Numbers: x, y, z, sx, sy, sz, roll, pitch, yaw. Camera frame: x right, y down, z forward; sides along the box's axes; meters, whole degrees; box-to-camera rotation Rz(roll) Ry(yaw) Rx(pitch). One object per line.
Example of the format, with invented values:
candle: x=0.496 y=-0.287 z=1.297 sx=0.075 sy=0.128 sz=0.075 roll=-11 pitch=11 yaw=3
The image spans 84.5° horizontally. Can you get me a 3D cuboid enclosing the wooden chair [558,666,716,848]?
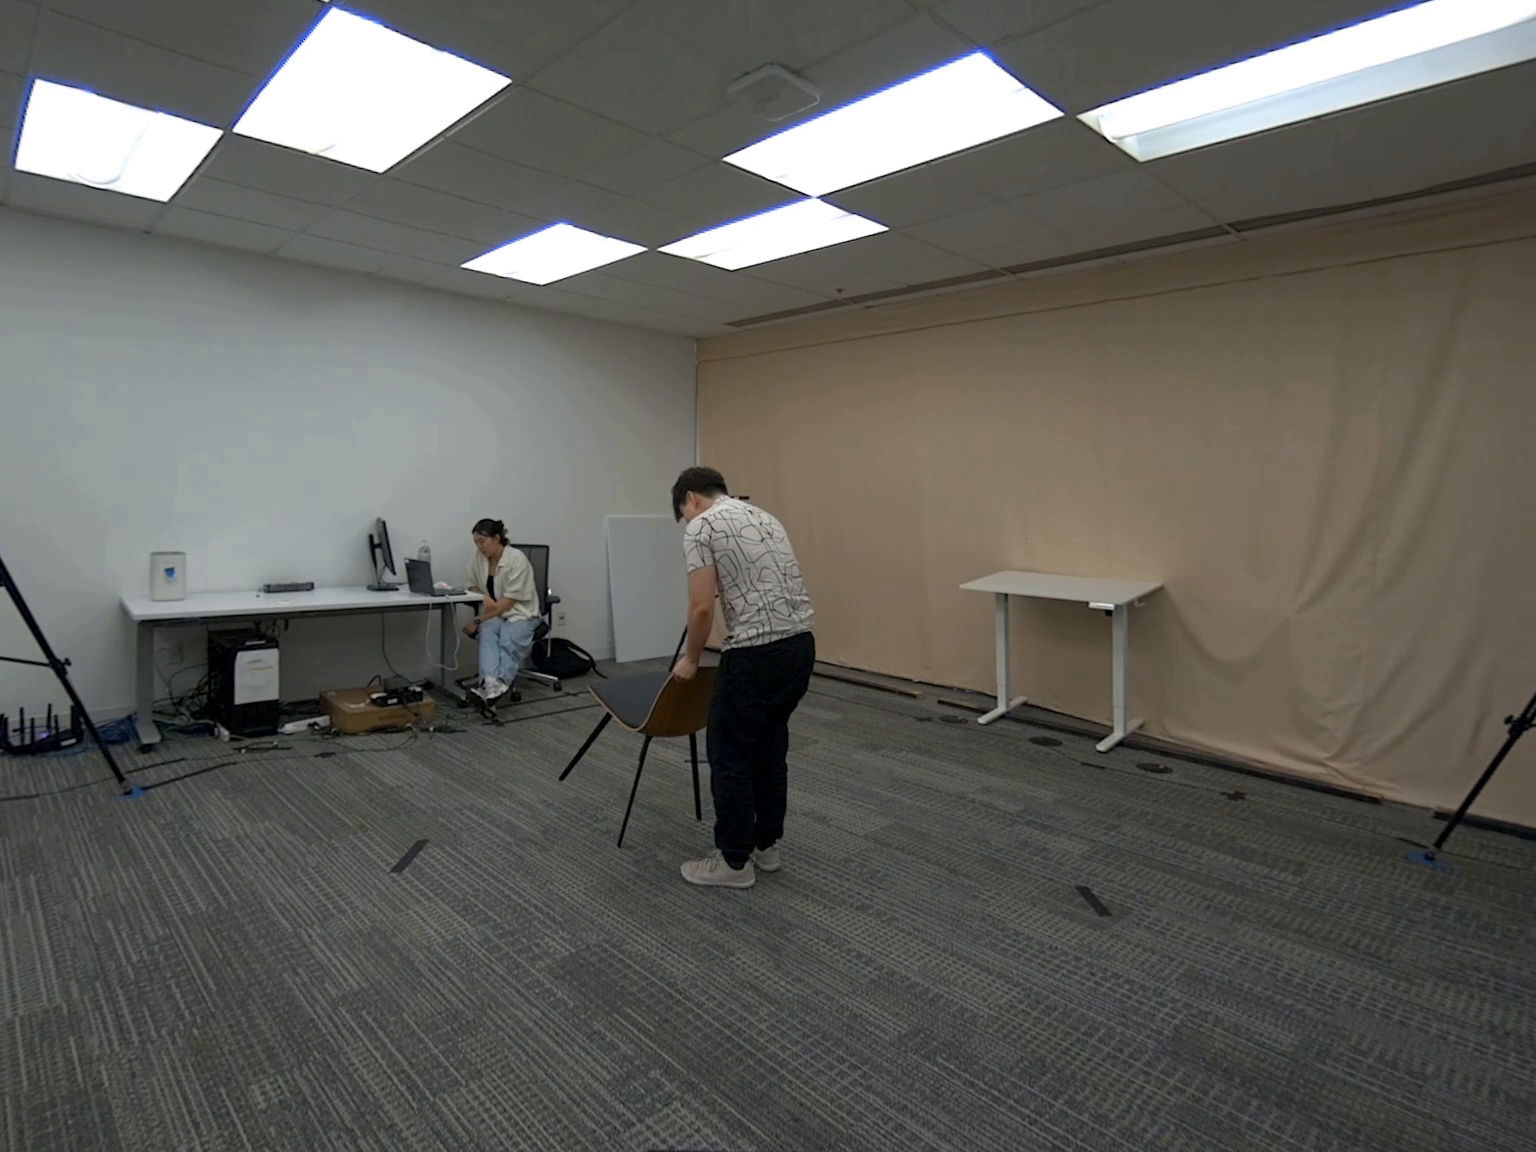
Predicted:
wooden chair: x=-0.474 y=0.579 z=3.492 sx=0.467 sy=0.870 sz=0.539 roll=-2 pitch=31 yaw=-47
